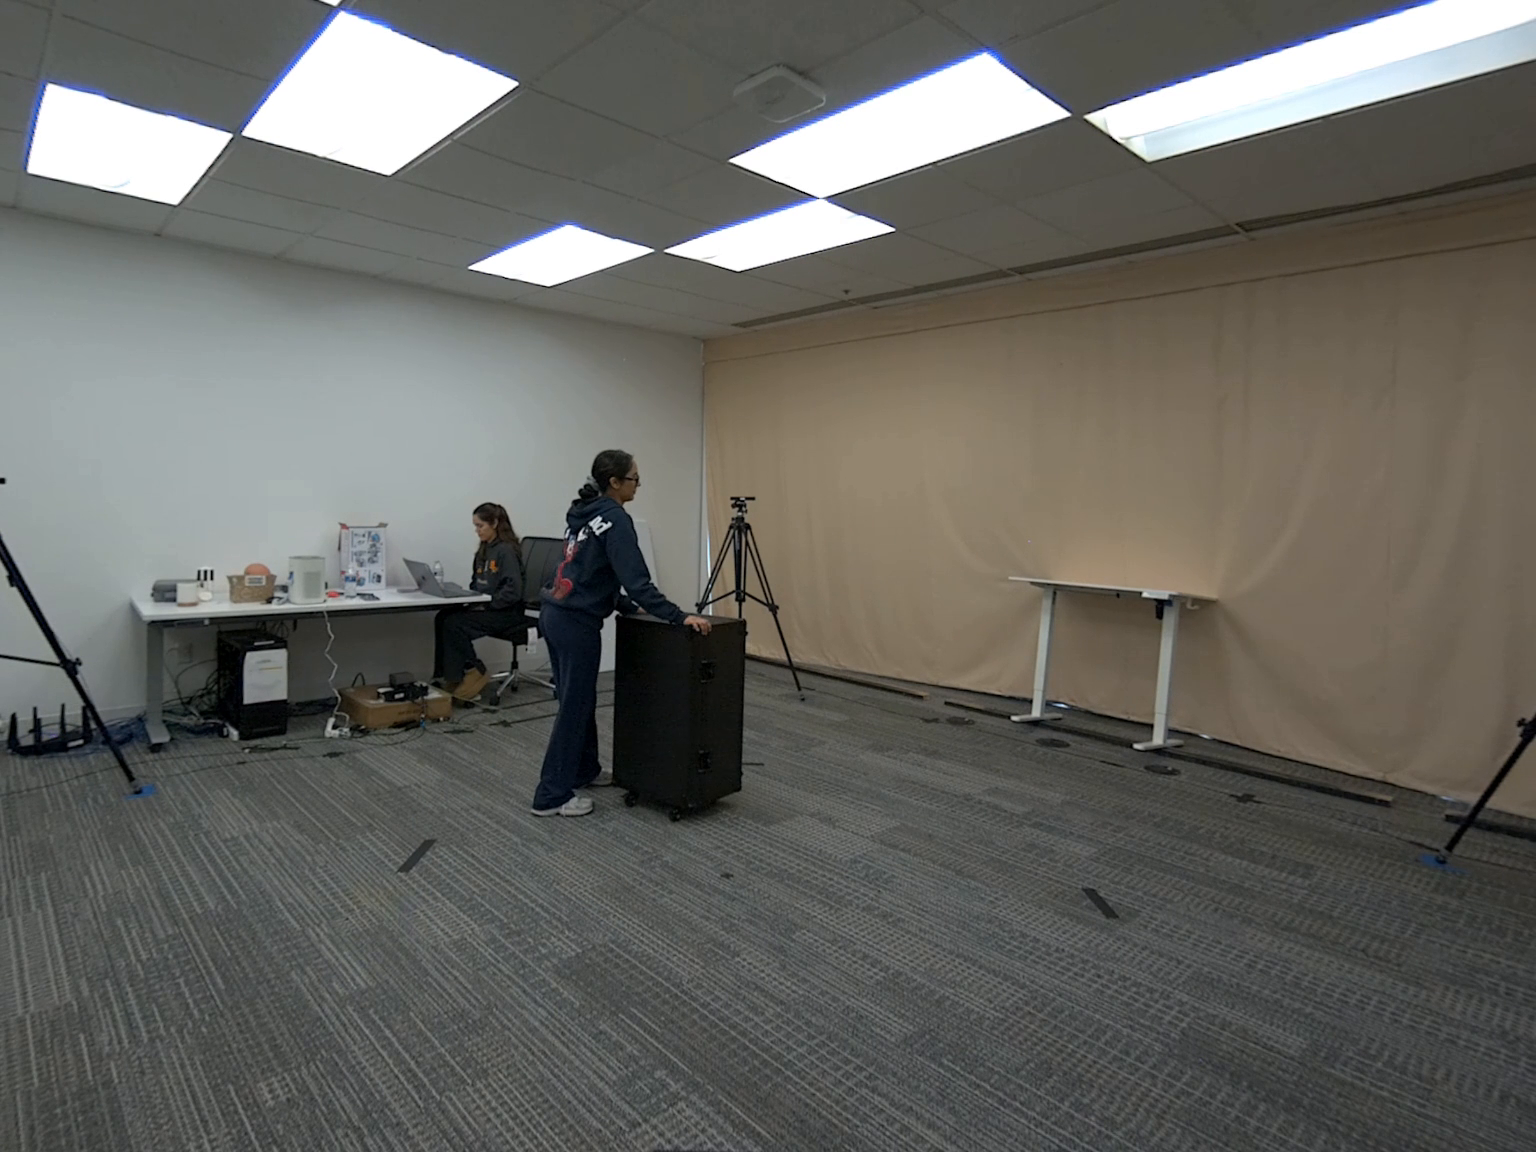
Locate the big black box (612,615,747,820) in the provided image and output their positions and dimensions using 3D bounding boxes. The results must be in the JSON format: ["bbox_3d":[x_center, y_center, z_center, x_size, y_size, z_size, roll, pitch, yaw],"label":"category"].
[{"bbox_3d":[-0.414,0.611,3.831,0.534,0.860,0.387,4,3,35],"label":"big black box"}]
